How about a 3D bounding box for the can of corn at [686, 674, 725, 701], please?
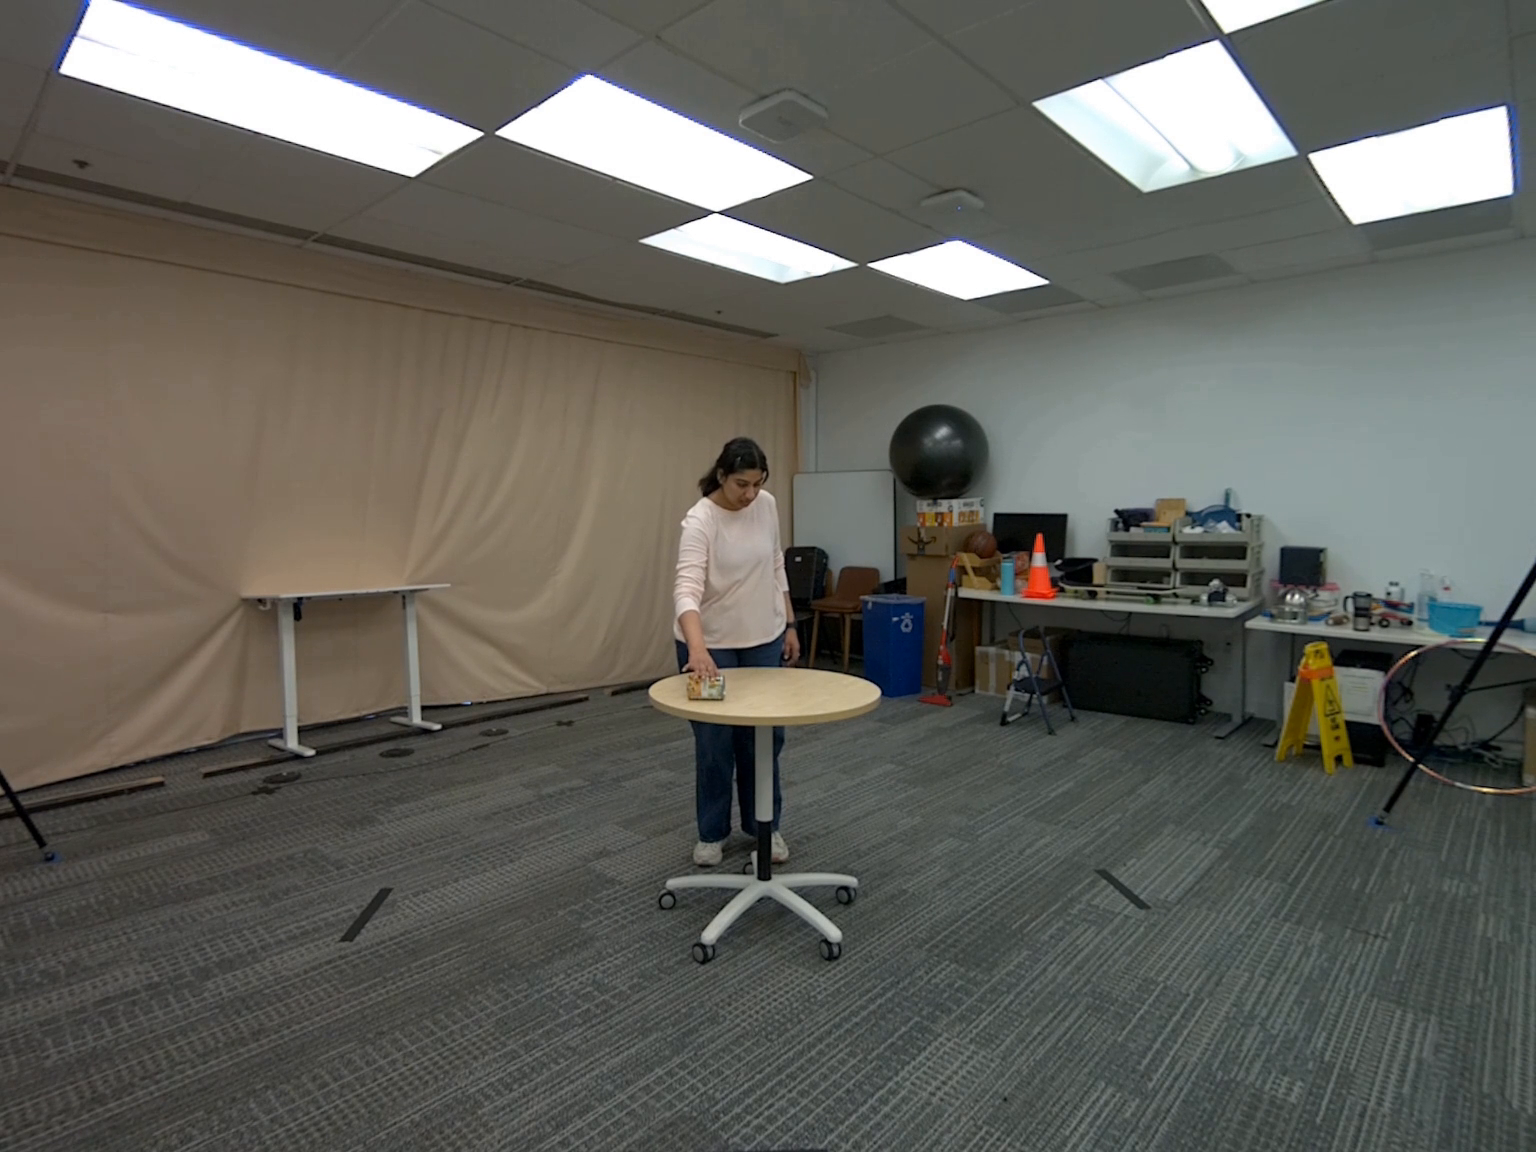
[{"bbox_3d":[-0.203,0.352,2.656,0.112,0.074,0.074,-1,4,6],"label":"can of corn"}]
